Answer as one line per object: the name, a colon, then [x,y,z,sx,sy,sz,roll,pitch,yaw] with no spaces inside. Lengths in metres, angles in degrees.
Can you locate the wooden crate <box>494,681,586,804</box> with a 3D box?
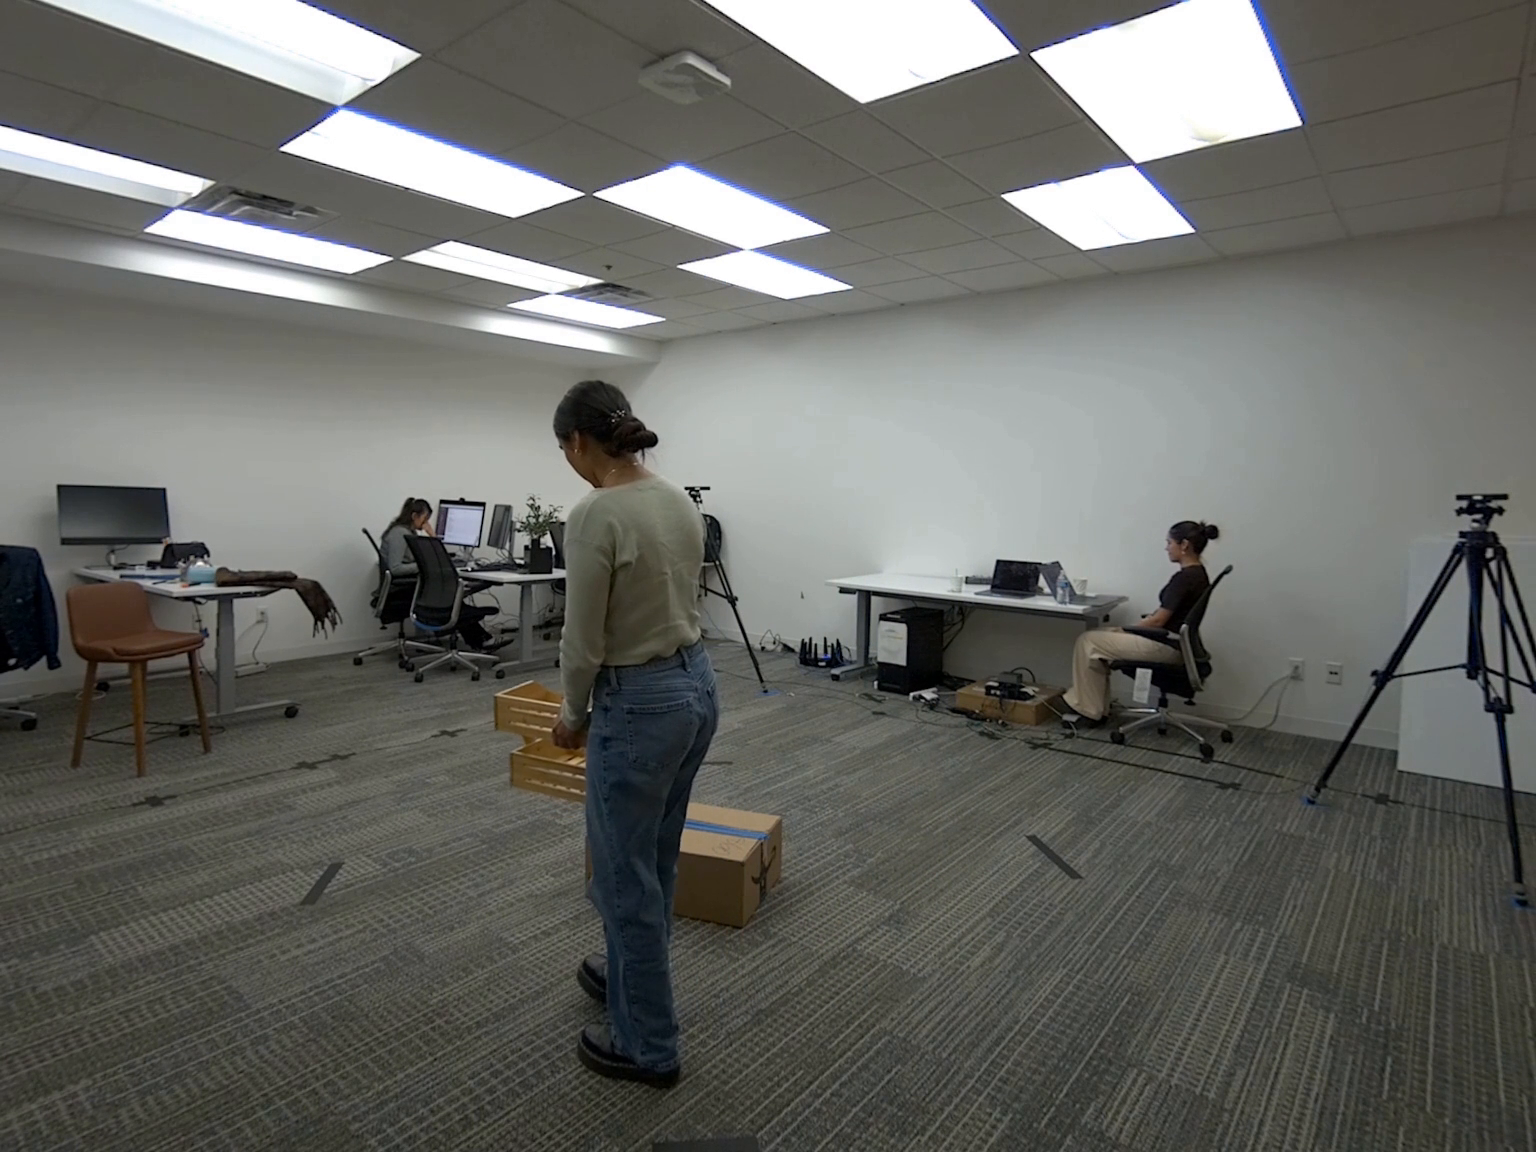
wooden crate: [-0.512,0.415,2.242,0.333,0.271,0.296,4,8,25]
